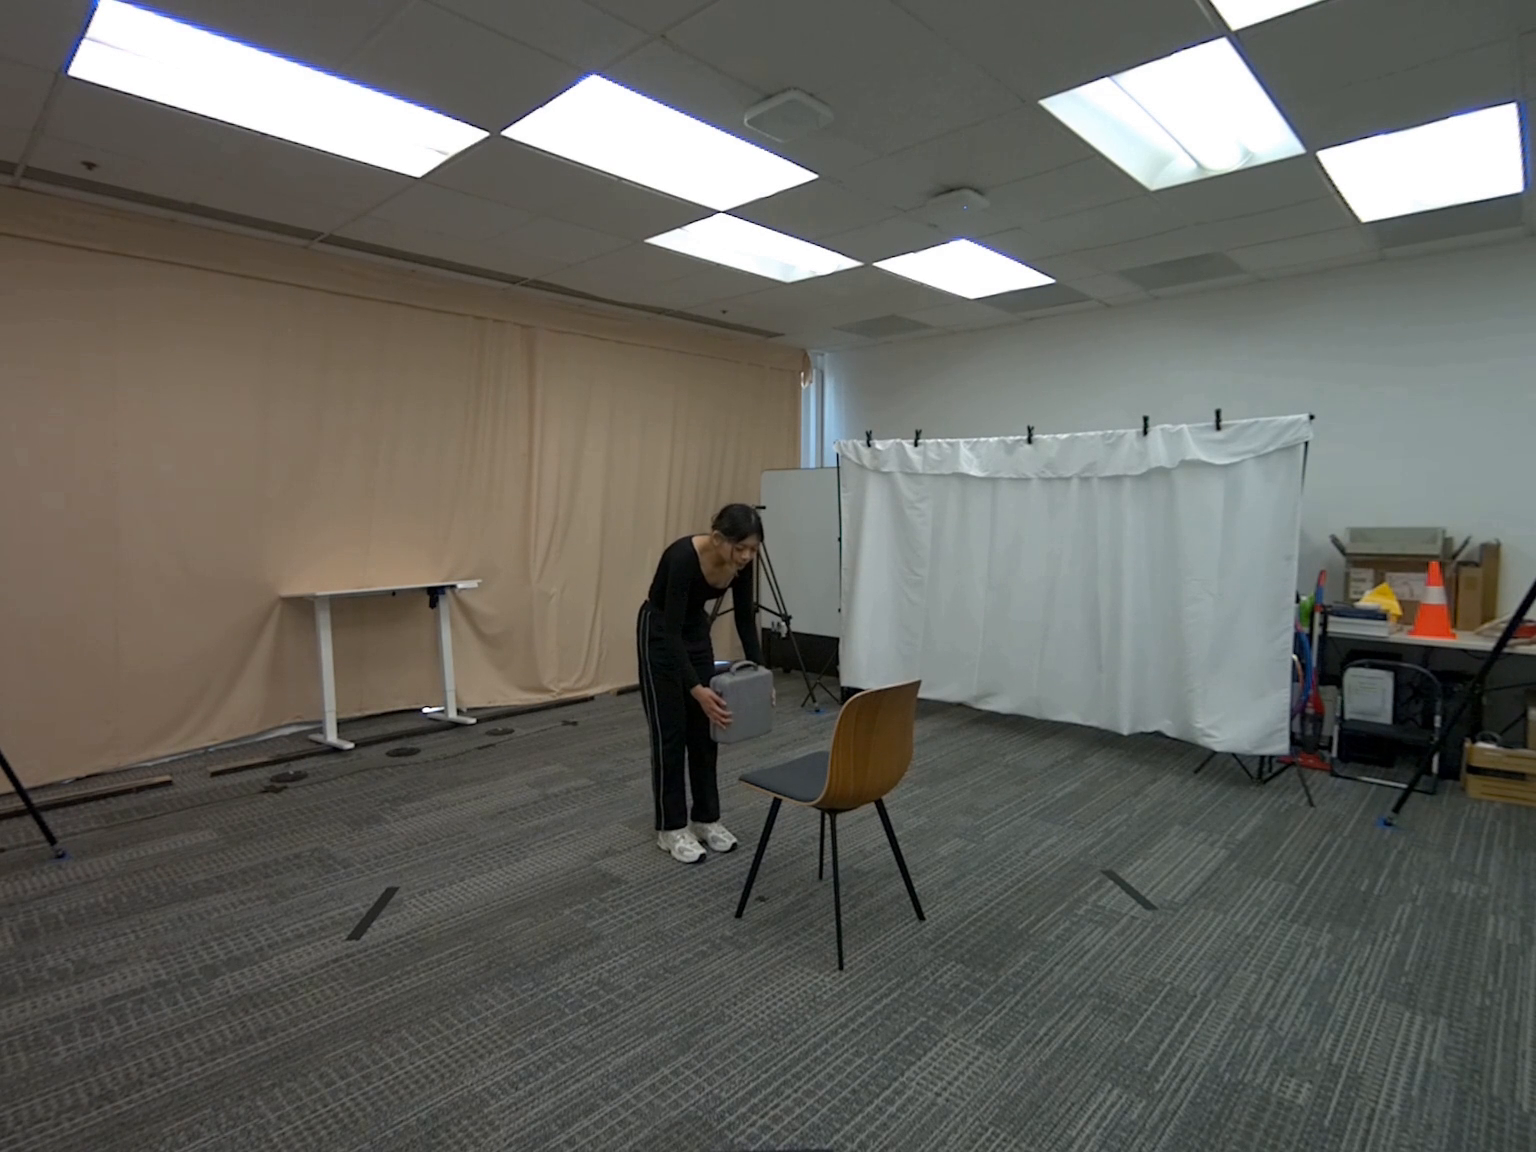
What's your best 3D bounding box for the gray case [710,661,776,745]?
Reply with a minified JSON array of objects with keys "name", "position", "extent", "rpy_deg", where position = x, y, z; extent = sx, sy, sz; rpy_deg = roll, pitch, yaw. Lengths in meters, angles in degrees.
[{"name":"gray case","position":[-0.092,0.480,3.155],"extent":[0.249,0.259,0.108],"rpy_deg":[-7,10,-41]}]
